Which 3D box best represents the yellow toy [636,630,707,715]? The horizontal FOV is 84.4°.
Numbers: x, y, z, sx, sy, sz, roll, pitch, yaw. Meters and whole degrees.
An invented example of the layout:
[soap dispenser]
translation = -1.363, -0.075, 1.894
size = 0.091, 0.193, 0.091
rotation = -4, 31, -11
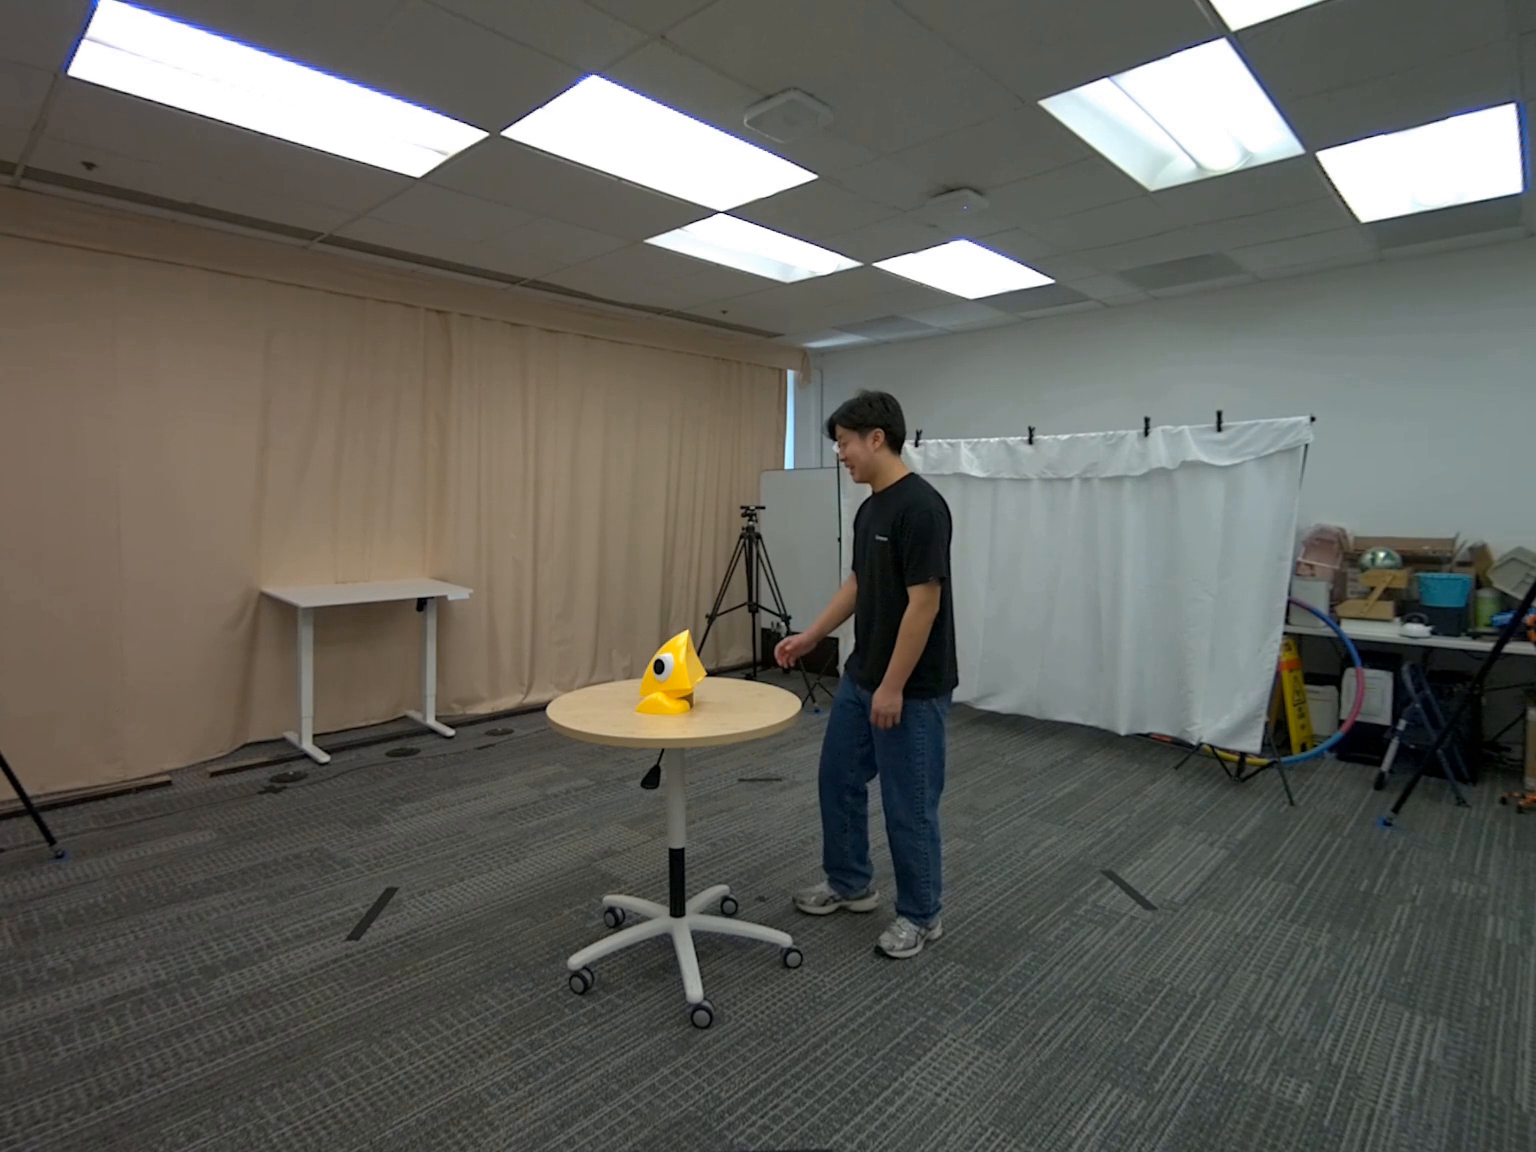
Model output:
[yellow toy]
translation = -0.291, 0.277, 2.510
size = 0.195, 0.230, 0.203
rotation = 0, 3, 11
